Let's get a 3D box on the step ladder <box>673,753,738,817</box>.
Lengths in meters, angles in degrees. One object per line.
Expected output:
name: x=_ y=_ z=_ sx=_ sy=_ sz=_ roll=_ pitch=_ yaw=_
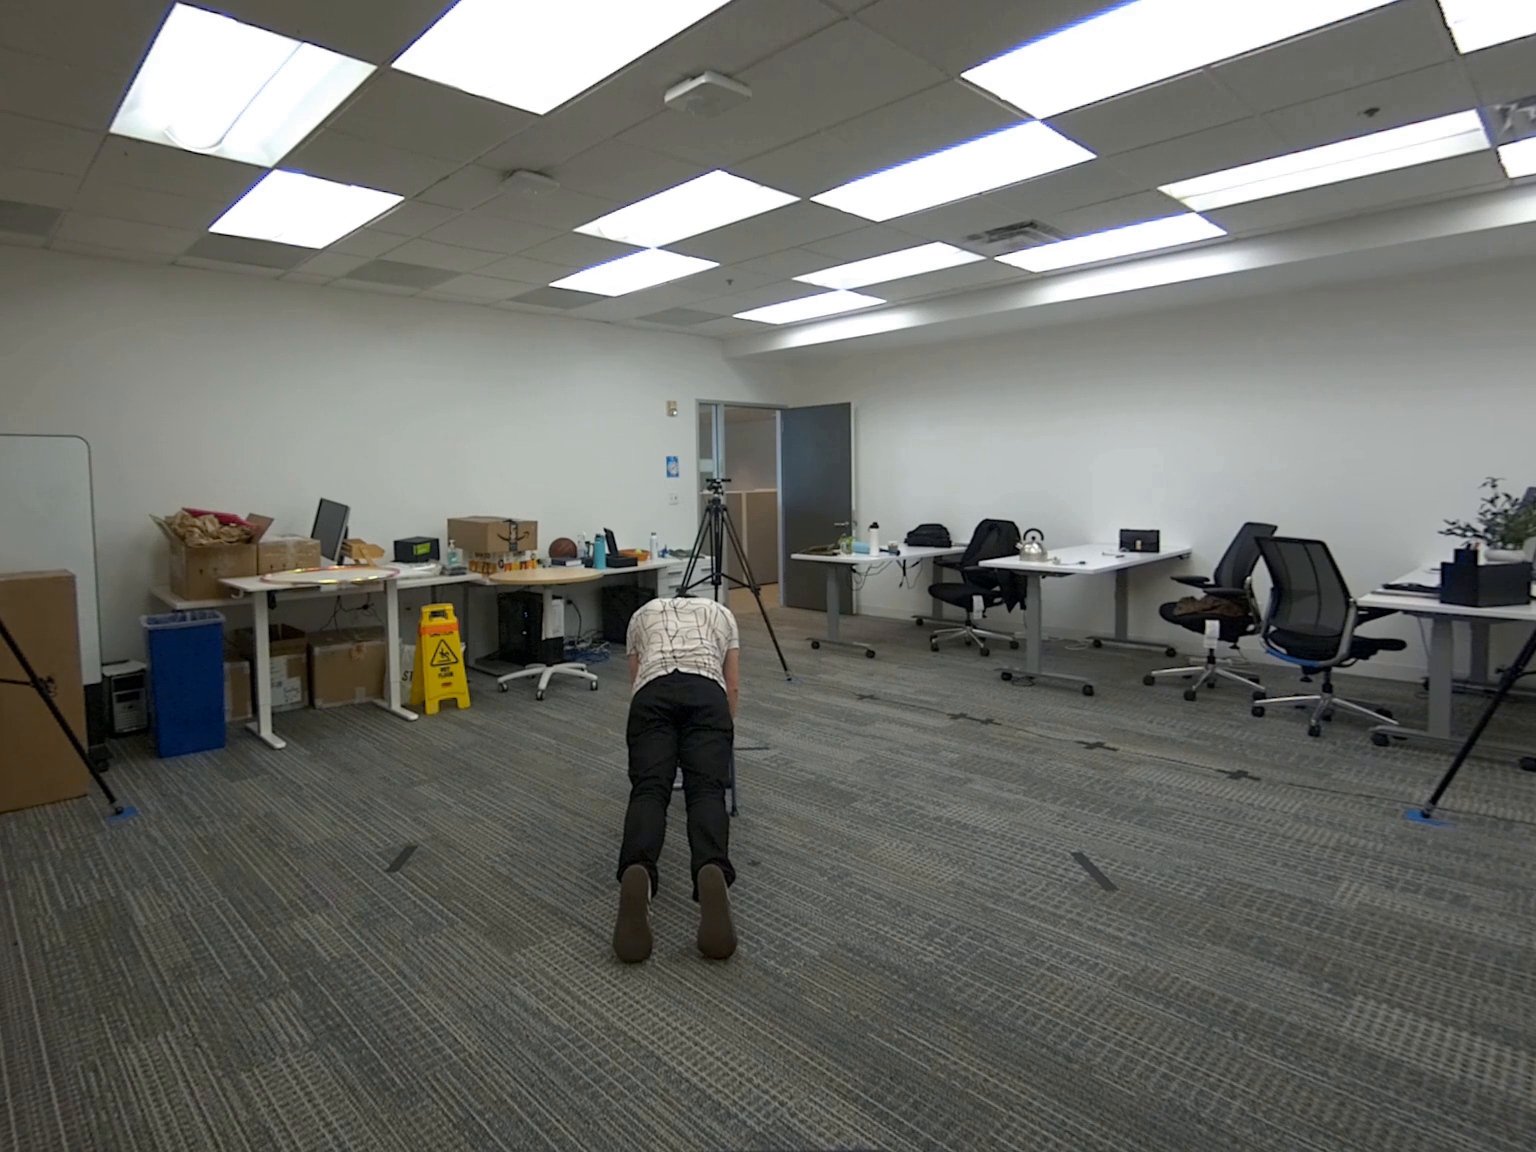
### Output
step ladder: x=-0.350 y=0.684 z=3.699 sx=0.430 sy=0.604 sz=0.351 roll=-1 pitch=4 yaw=-3
